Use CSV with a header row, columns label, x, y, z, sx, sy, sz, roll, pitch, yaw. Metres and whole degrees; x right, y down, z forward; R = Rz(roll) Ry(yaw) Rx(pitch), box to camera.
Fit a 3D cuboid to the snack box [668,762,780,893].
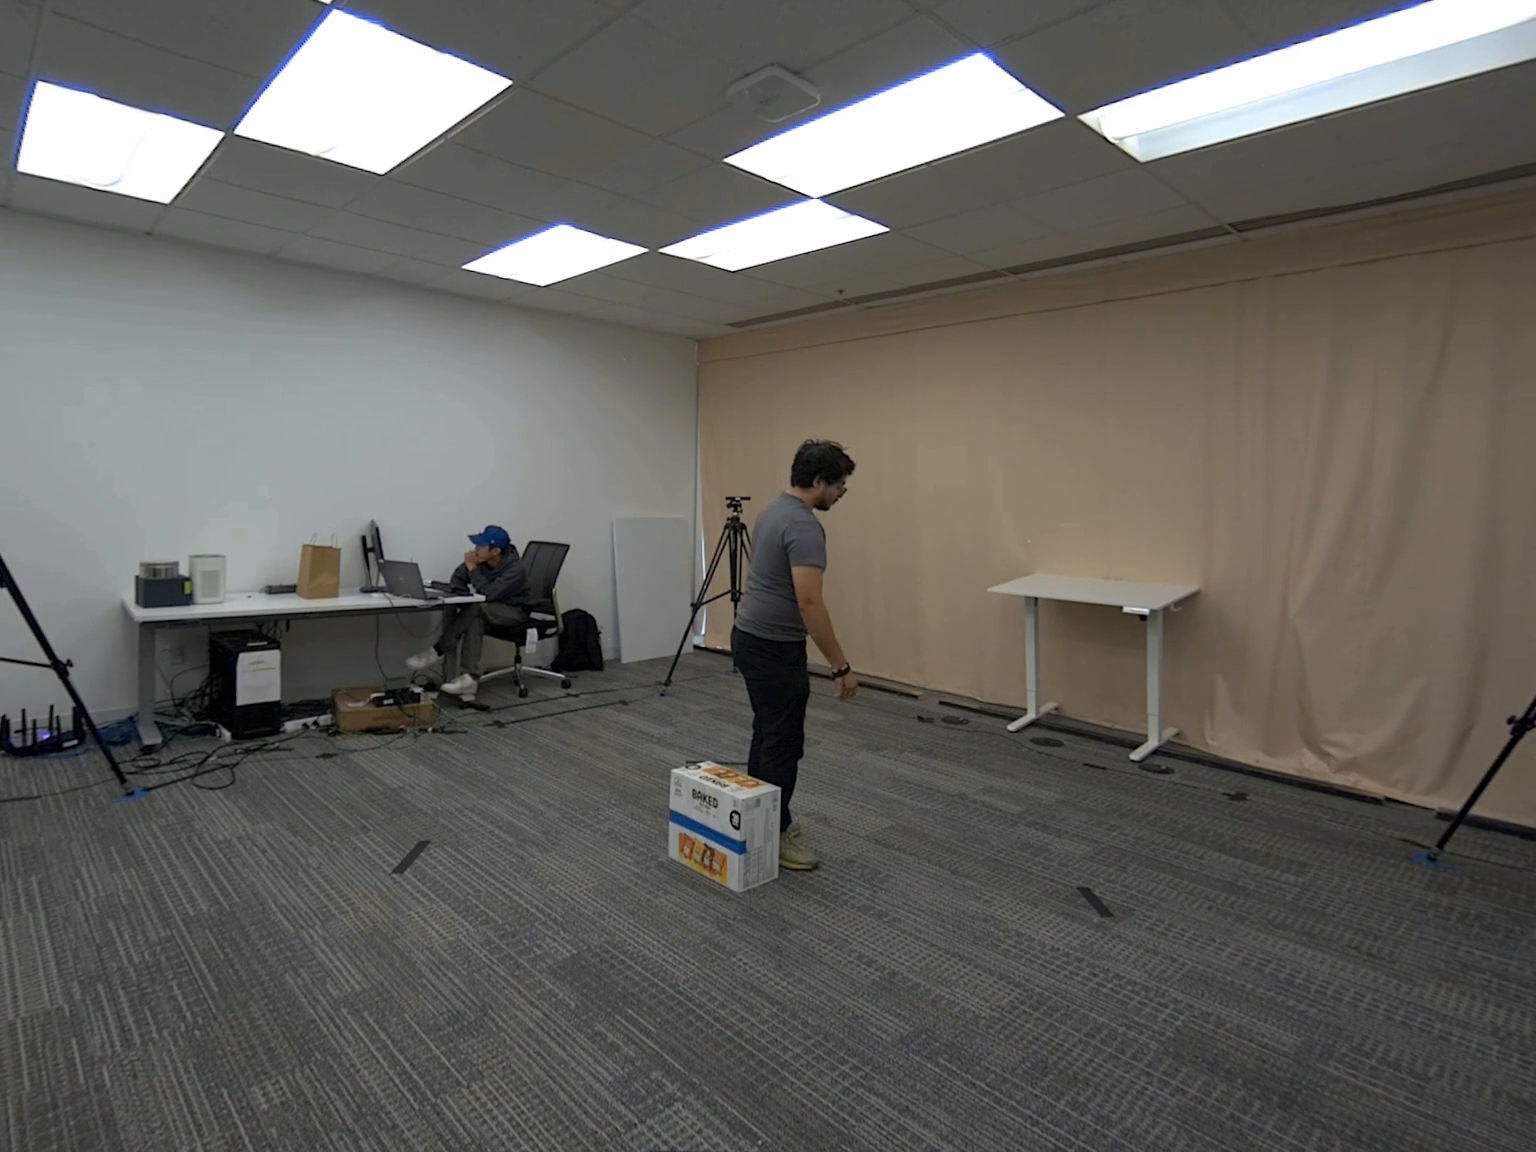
label,x,y,z,sx,sy,sz,roll,pitch,yaw
snack box,-0.174,0.930,3.166,0.201,0.339,0.416,-1,5,-44
